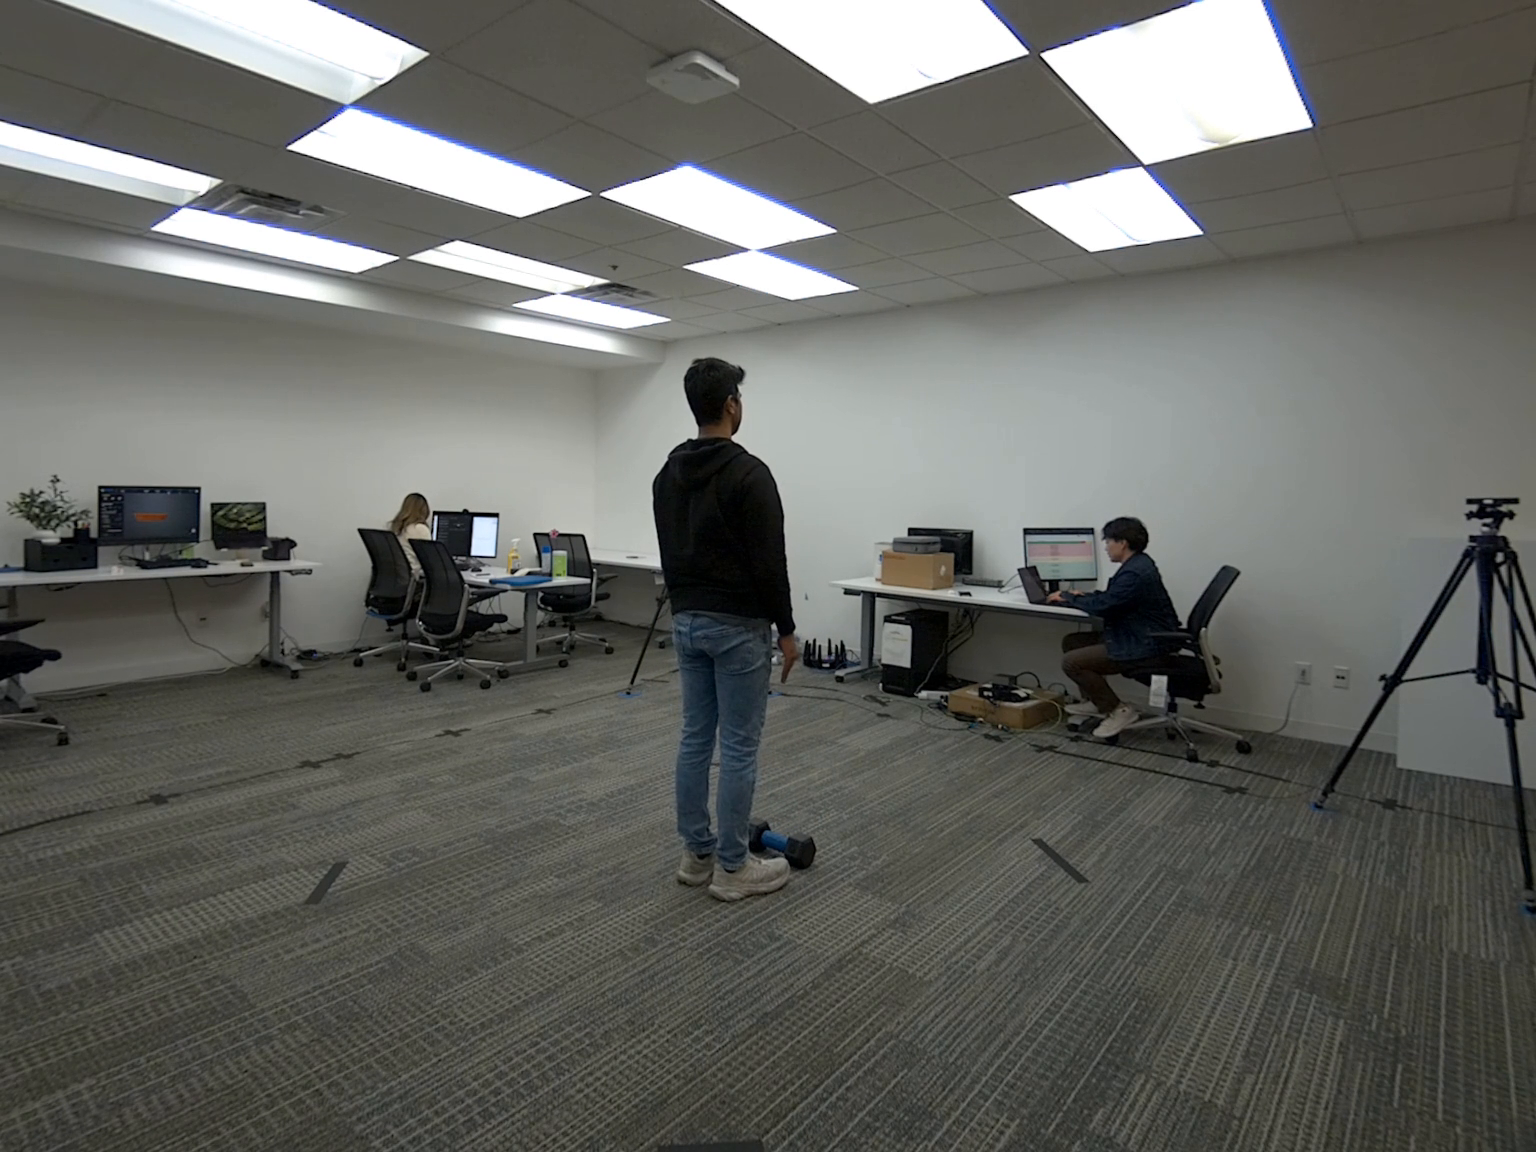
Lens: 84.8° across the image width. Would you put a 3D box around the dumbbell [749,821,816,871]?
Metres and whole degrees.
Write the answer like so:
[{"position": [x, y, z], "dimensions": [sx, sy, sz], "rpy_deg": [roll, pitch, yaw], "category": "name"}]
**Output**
[{"position": [0.030, 1.005, 3.221], "dimensions": [0.303, 0.124, 0.104], "rpy_deg": [5, -23, 40], "category": "dumbbell"}]
